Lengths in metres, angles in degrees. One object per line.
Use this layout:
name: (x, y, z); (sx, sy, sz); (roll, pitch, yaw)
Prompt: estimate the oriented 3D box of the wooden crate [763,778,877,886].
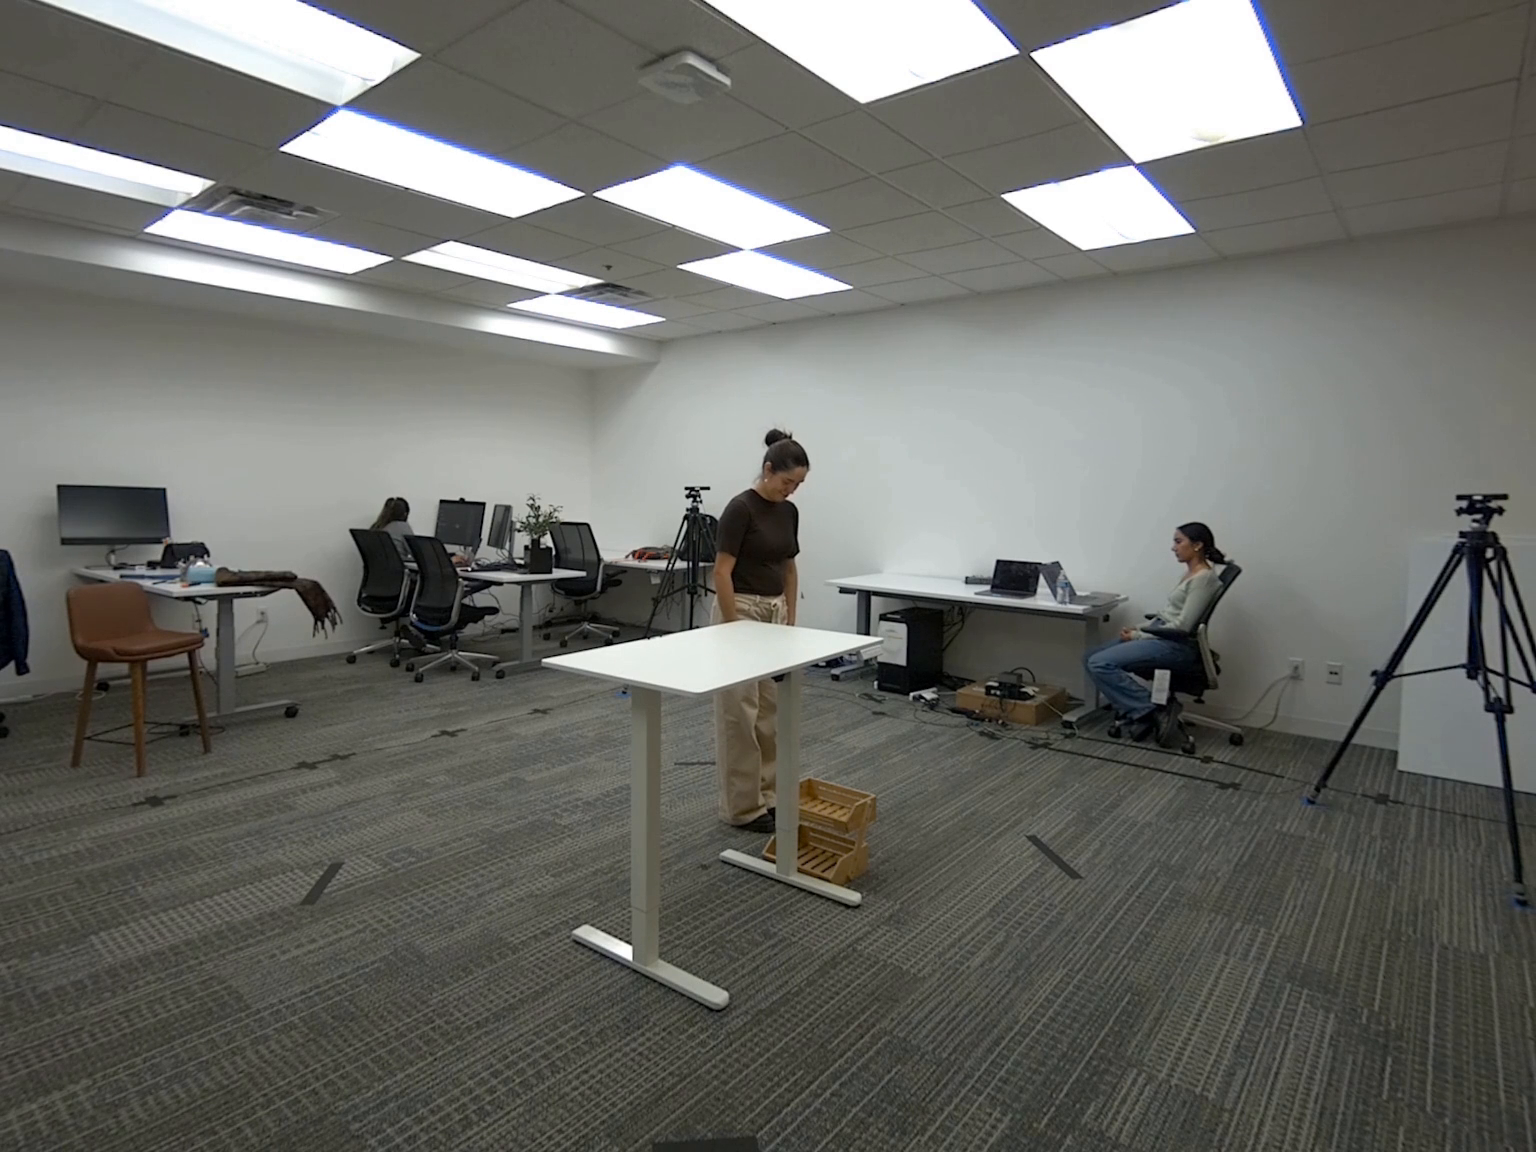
wooden crate: (0.184, 0.935, 3.144); (0.335, 0.272, 0.293); (5, 5, 37)
